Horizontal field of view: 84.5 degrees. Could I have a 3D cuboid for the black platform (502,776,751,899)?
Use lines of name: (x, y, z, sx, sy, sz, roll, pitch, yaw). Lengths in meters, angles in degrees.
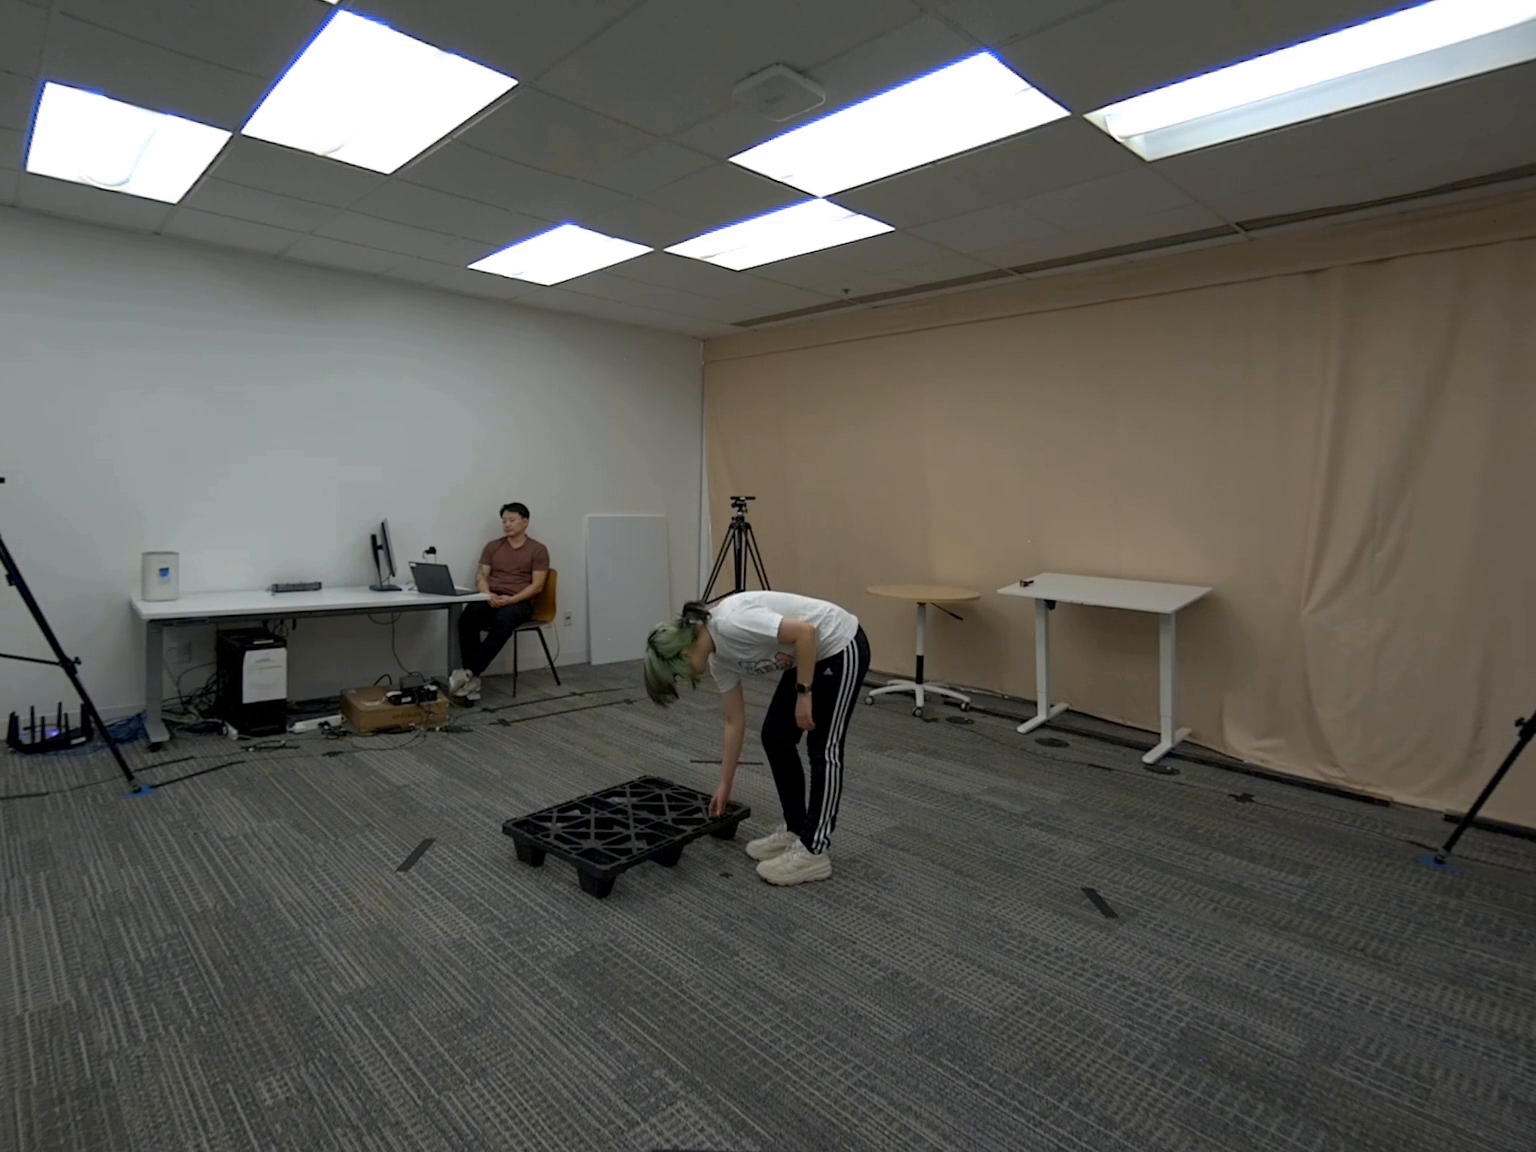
black platform: (-0.556, 1.010, 3.317, 0.620, 0.143, 0.788, 5, 6, 38)
